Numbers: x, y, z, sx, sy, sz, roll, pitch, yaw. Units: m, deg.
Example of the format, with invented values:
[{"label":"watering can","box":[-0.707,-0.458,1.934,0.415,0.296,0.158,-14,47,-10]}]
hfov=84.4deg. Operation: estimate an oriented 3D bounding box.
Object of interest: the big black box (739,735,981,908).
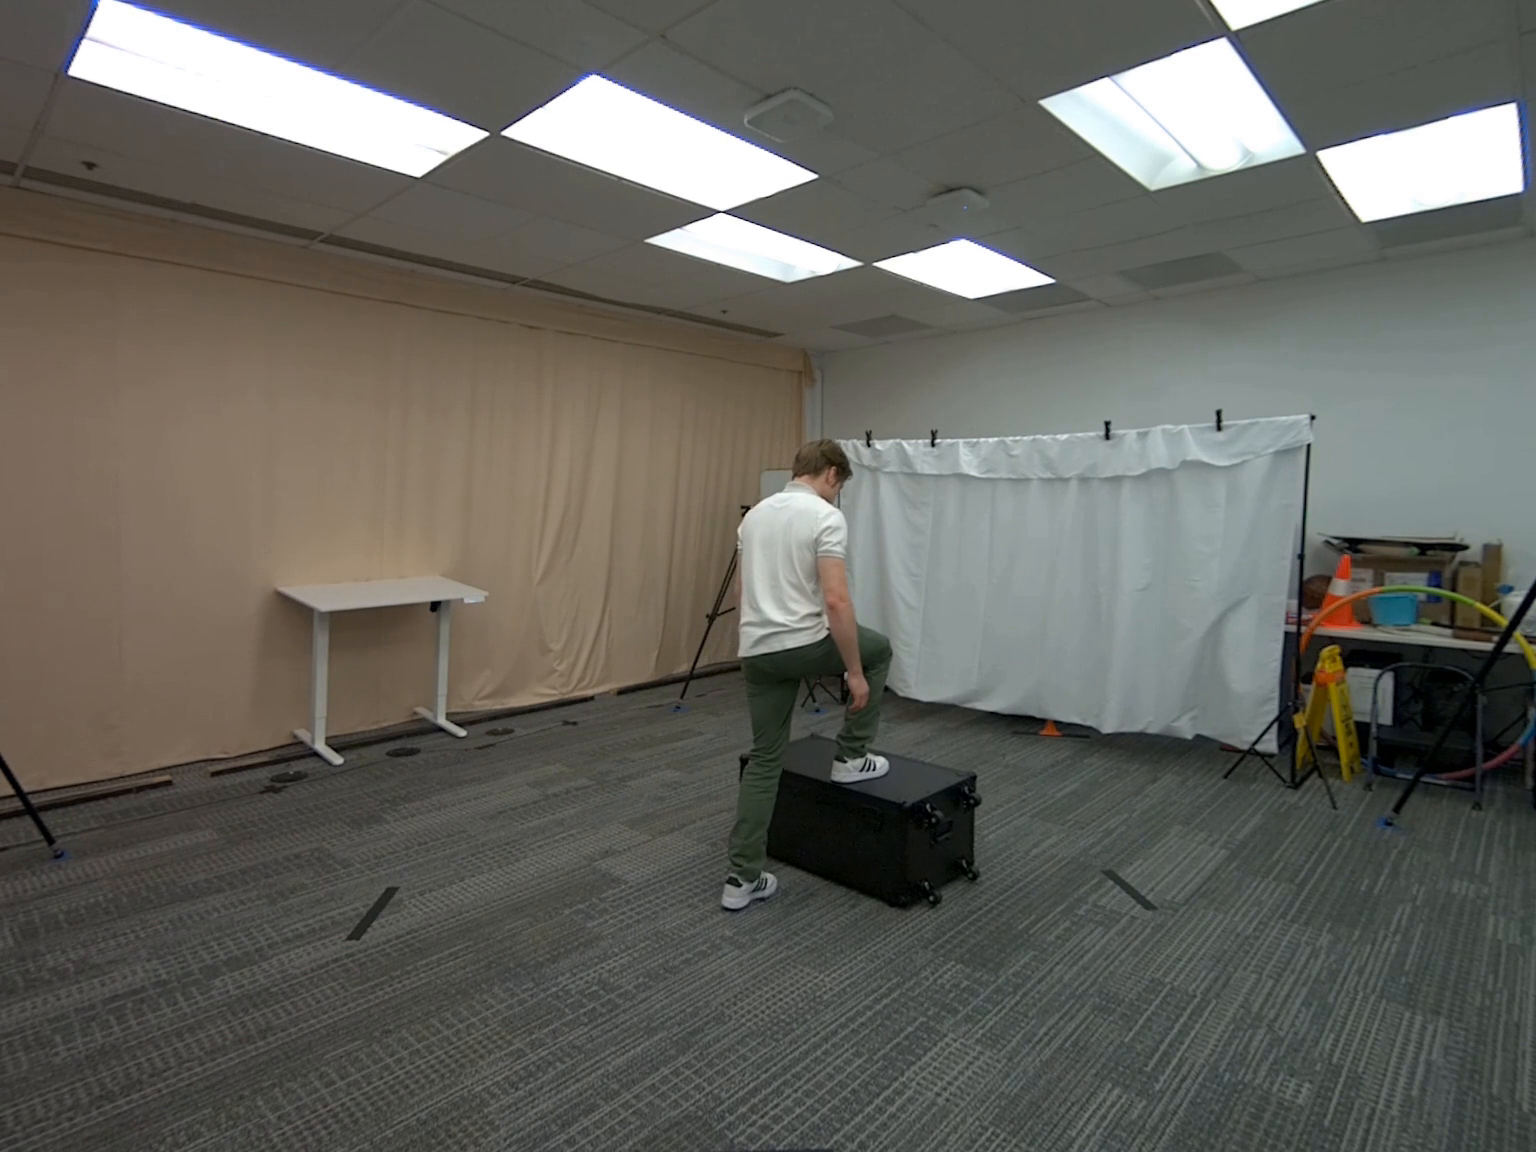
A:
[{"label":"big black box","box":[0.362,0.924,3.274,0.898,0.384,0.507,5,5,43]}]
